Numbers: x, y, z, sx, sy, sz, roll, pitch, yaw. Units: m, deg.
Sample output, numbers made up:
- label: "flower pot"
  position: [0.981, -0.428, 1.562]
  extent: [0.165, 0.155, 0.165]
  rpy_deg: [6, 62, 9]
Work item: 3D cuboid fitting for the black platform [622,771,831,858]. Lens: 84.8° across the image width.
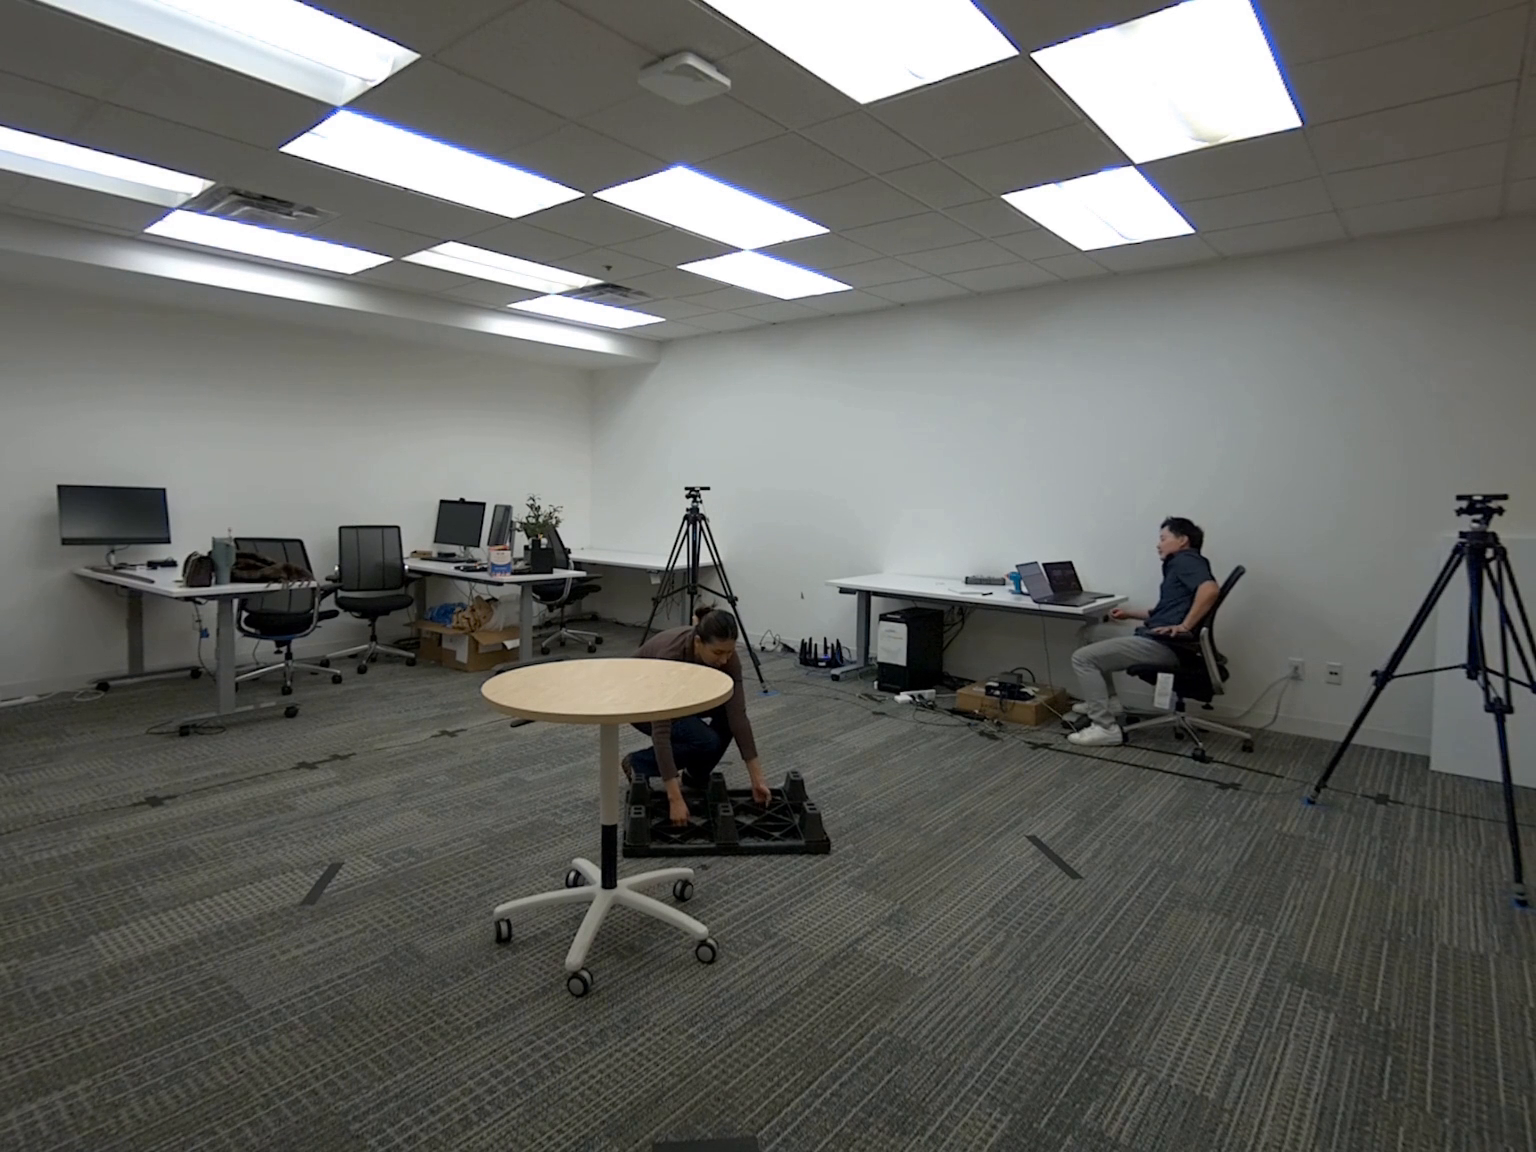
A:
- label: "black platform"
  position: [-0.195, 0.952, 3.506]
  extent: [0.801, 0.142, 0.612]
  rpy_deg: [0, 6, -6]
